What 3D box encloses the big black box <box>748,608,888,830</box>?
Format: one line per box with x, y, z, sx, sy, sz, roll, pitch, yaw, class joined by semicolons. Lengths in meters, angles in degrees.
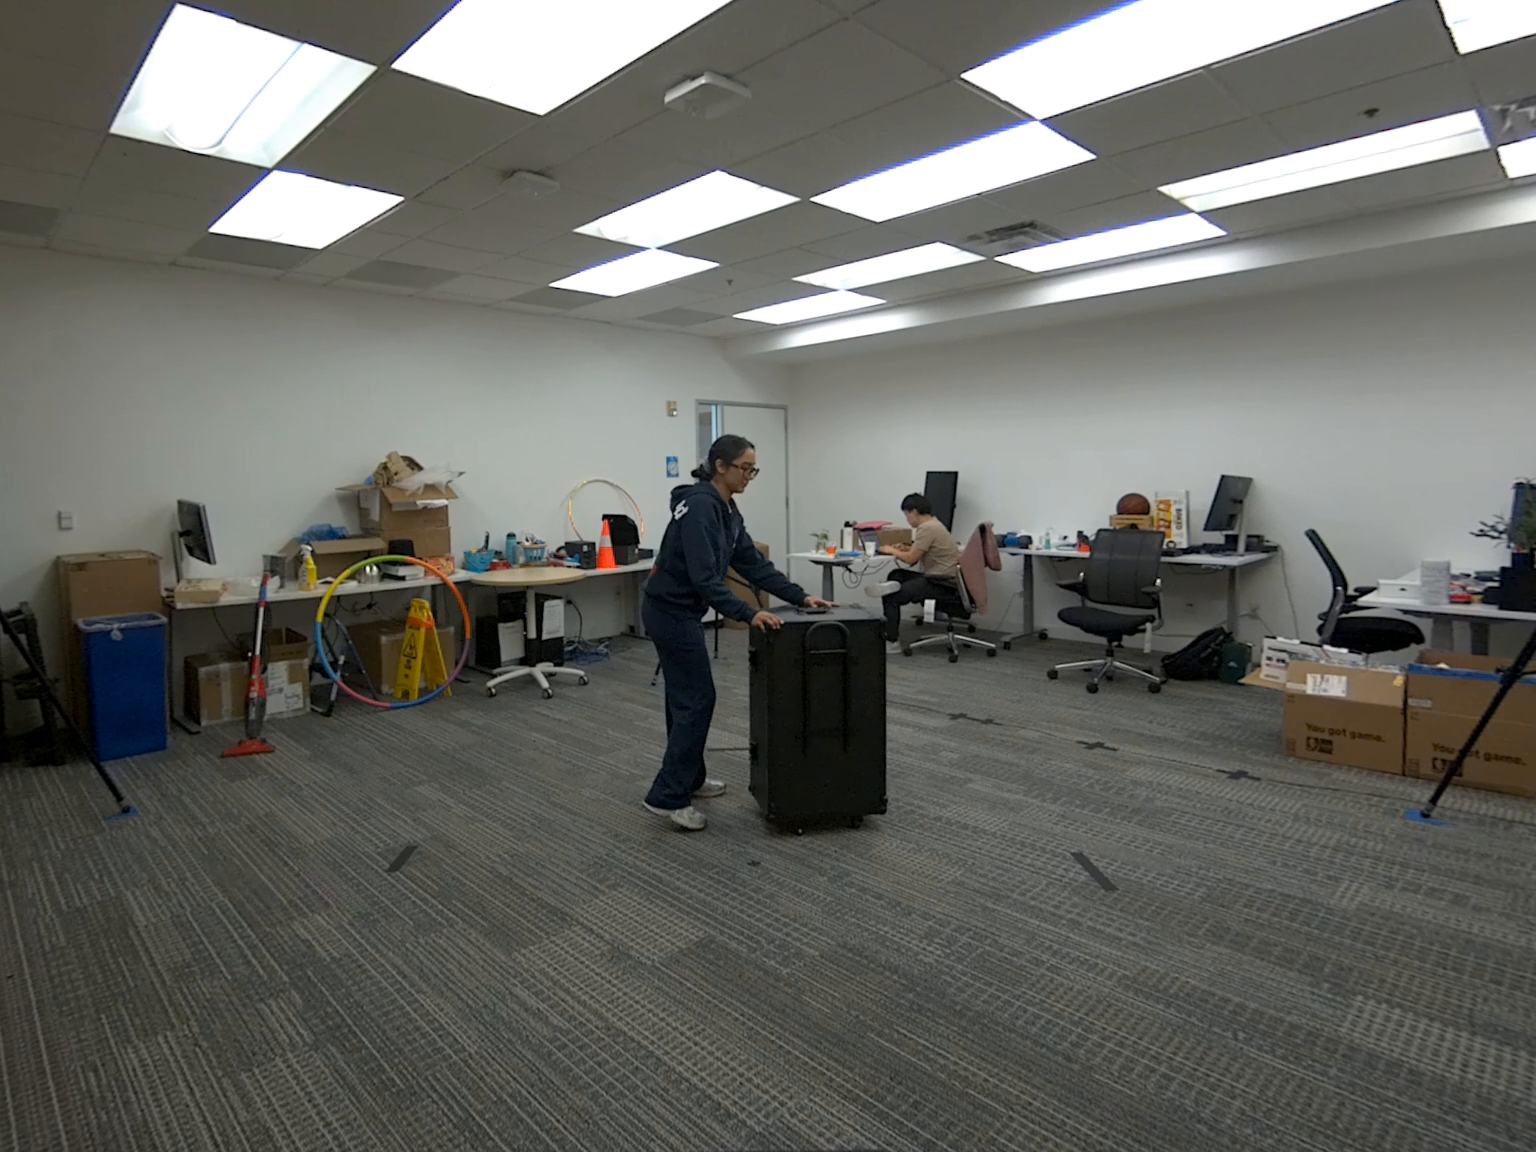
0.194;0.576;3.466;0.516;0.858;0.402;-1;5;-12;big black box
